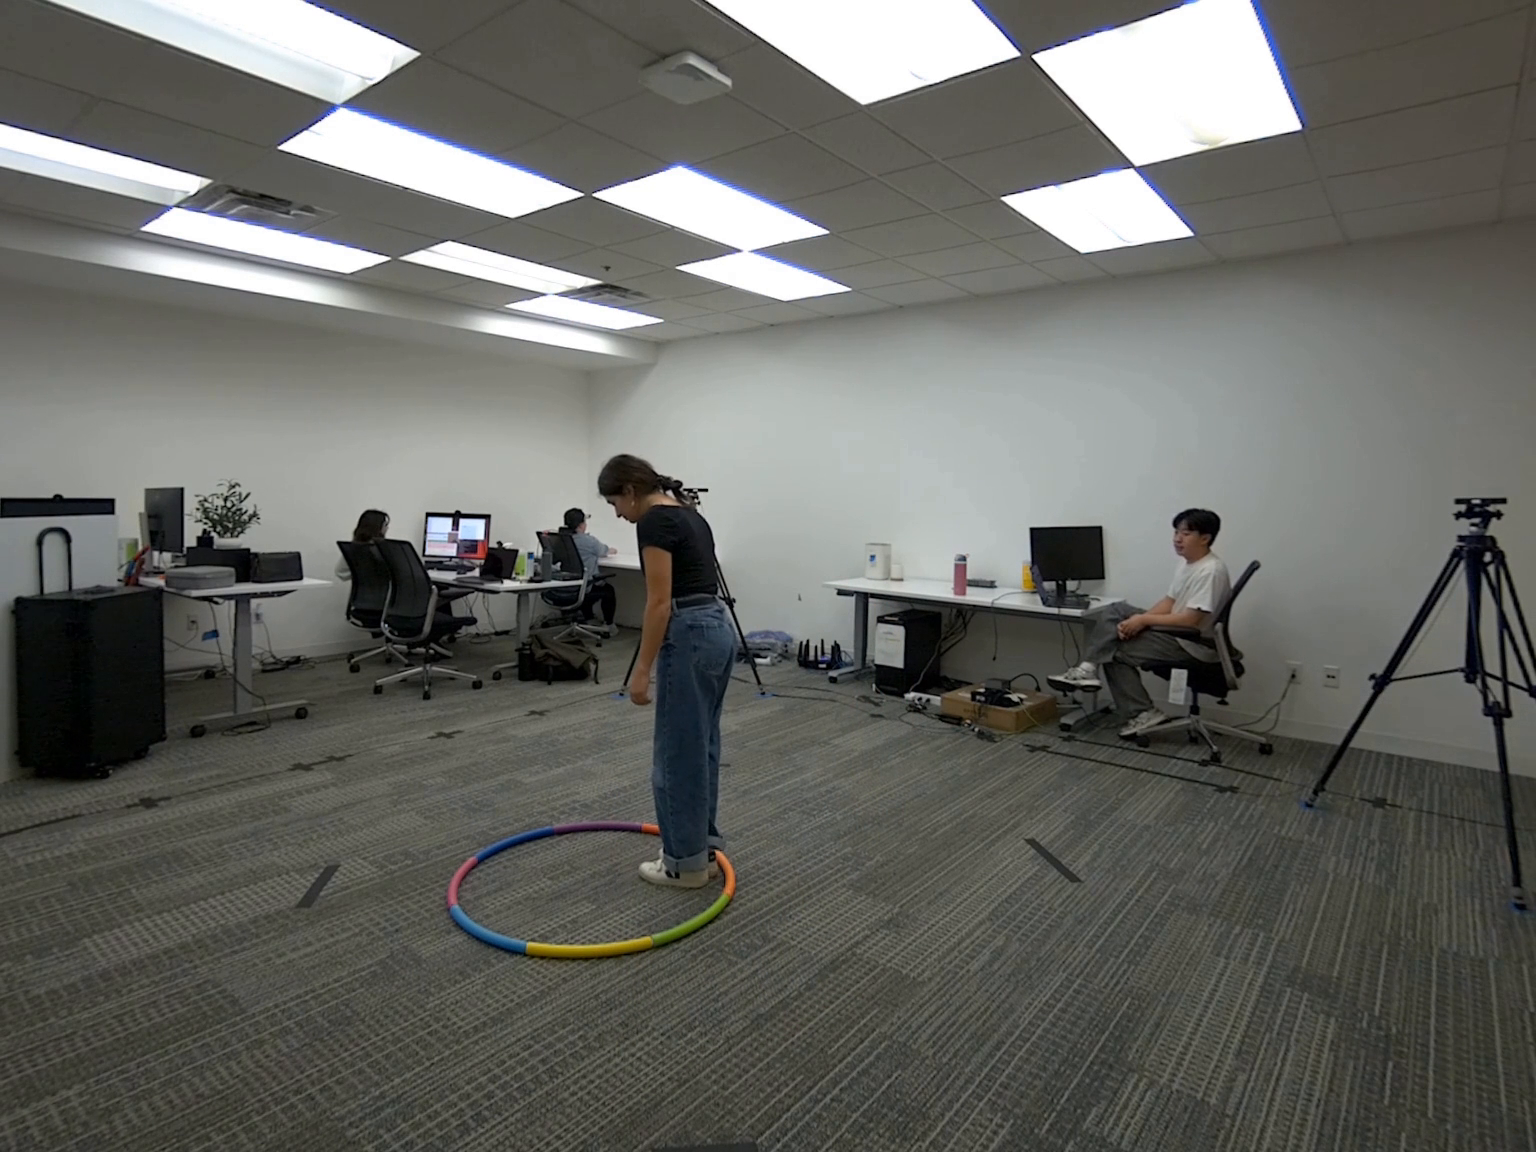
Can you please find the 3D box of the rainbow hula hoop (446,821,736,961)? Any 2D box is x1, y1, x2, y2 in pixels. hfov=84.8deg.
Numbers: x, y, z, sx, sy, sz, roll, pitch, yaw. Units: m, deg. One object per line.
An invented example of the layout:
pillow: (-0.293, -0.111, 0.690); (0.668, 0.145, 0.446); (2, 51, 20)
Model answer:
rainbow hula hoop: (-0.601, 1.041, 2.981); (0.978, 0.035, 0.984); (1, 6, -2)
